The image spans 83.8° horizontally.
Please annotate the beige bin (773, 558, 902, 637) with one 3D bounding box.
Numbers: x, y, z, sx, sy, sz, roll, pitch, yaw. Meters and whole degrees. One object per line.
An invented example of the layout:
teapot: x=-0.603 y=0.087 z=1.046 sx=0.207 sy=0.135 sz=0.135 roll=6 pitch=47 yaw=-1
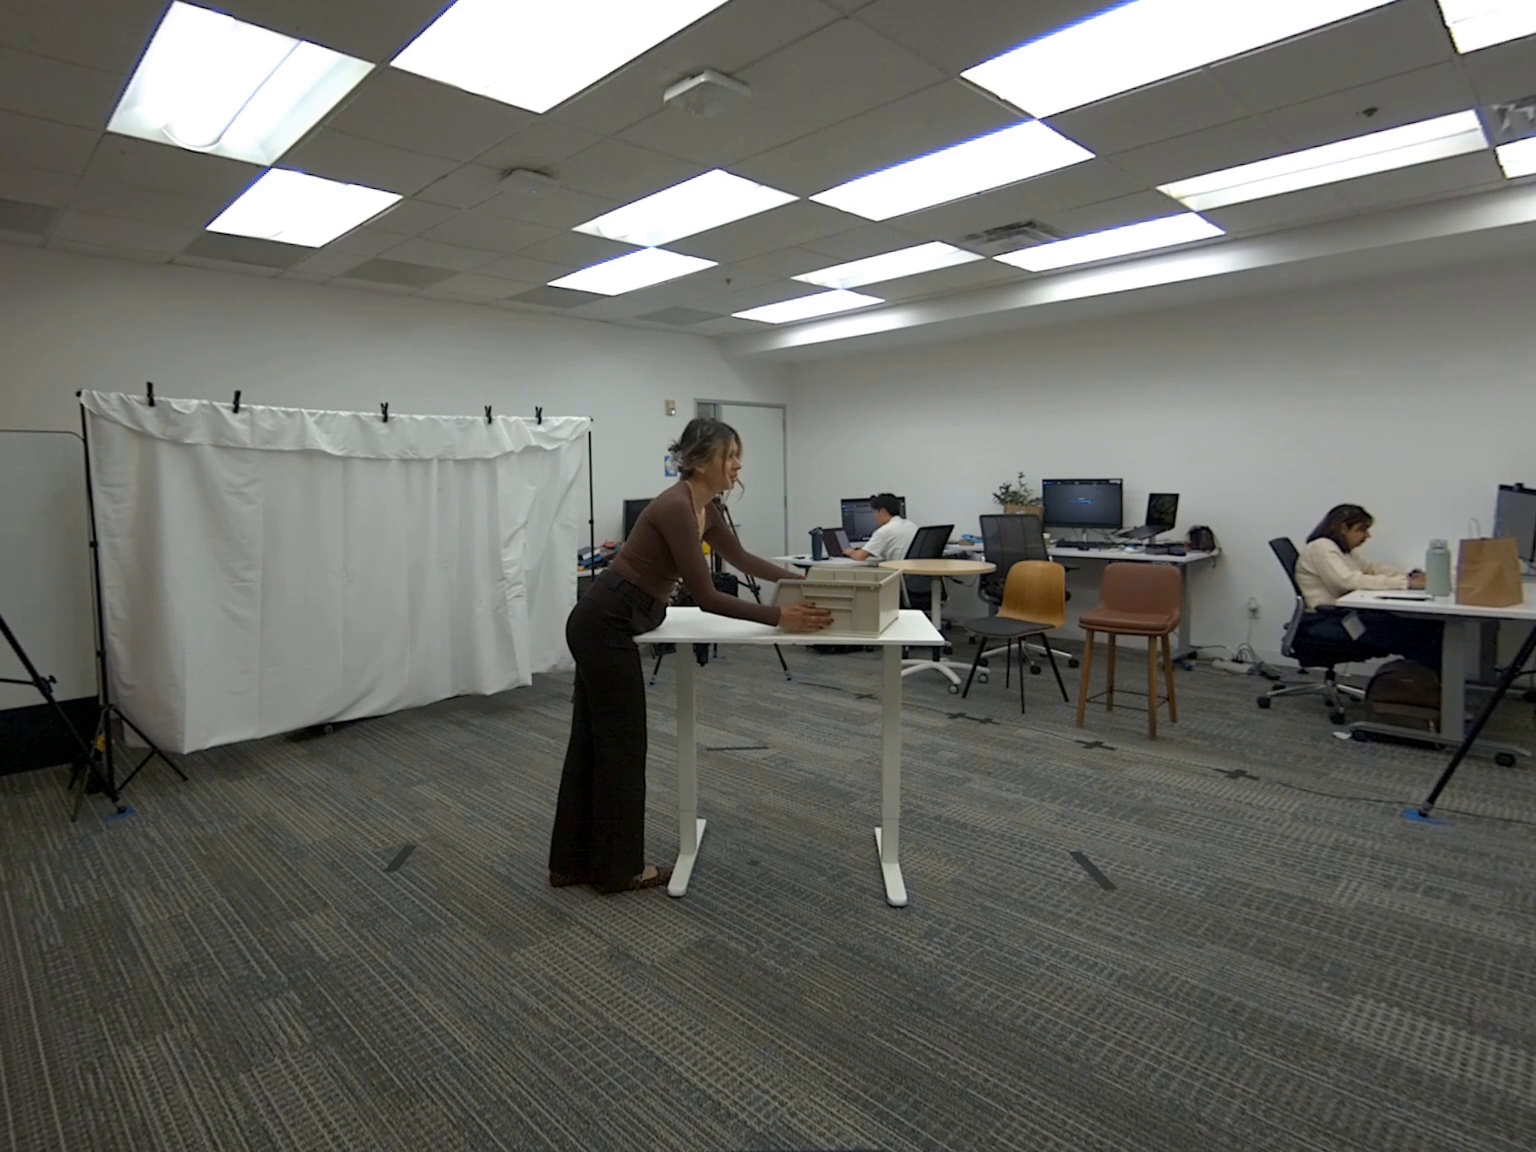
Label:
beige bin: x=0.252 y=0.085 z=2.966 sx=0.384 sy=0.188 sz=0.416 roll=3 pitch=7 yaw=18
